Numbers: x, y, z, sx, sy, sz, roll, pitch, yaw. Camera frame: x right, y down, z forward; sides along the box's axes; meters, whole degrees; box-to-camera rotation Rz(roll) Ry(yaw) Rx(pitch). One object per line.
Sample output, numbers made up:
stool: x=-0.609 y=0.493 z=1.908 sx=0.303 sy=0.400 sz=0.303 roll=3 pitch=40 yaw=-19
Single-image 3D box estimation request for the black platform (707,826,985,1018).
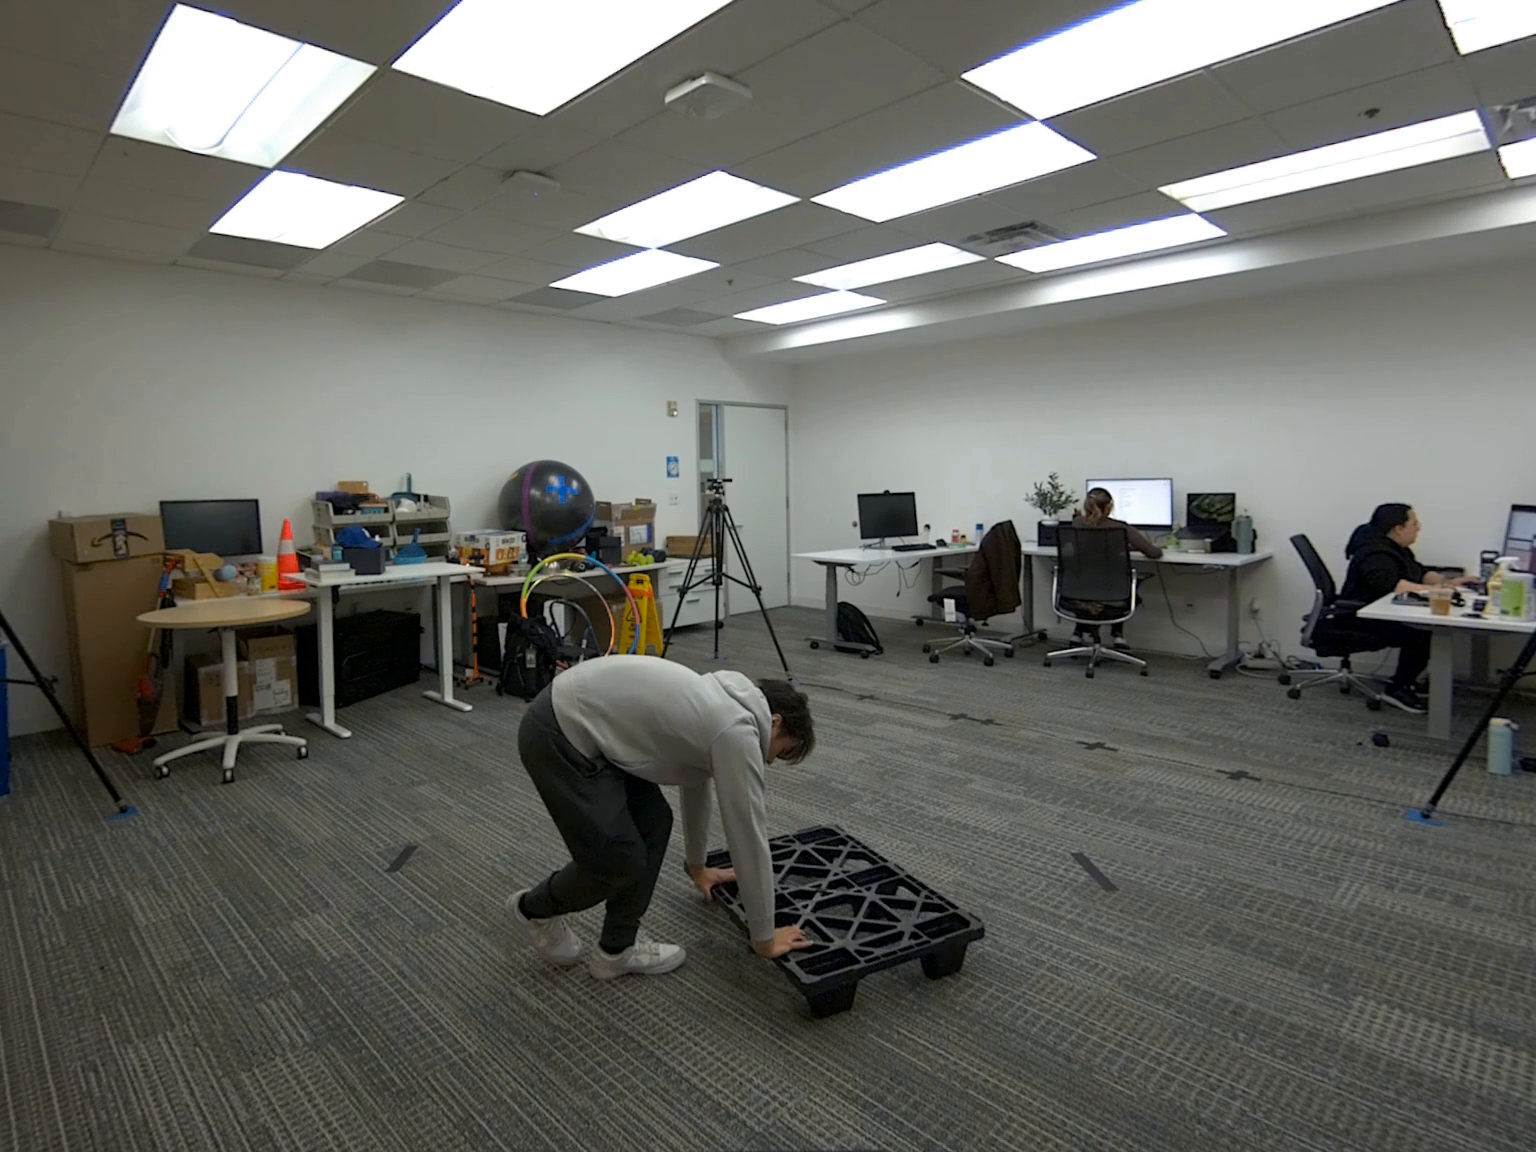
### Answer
black platform: x=0.169 y=1.025 z=2.638 sx=0.592 sy=0.142 sz=0.827 roll=-4 pitch=8 yaw=-27
